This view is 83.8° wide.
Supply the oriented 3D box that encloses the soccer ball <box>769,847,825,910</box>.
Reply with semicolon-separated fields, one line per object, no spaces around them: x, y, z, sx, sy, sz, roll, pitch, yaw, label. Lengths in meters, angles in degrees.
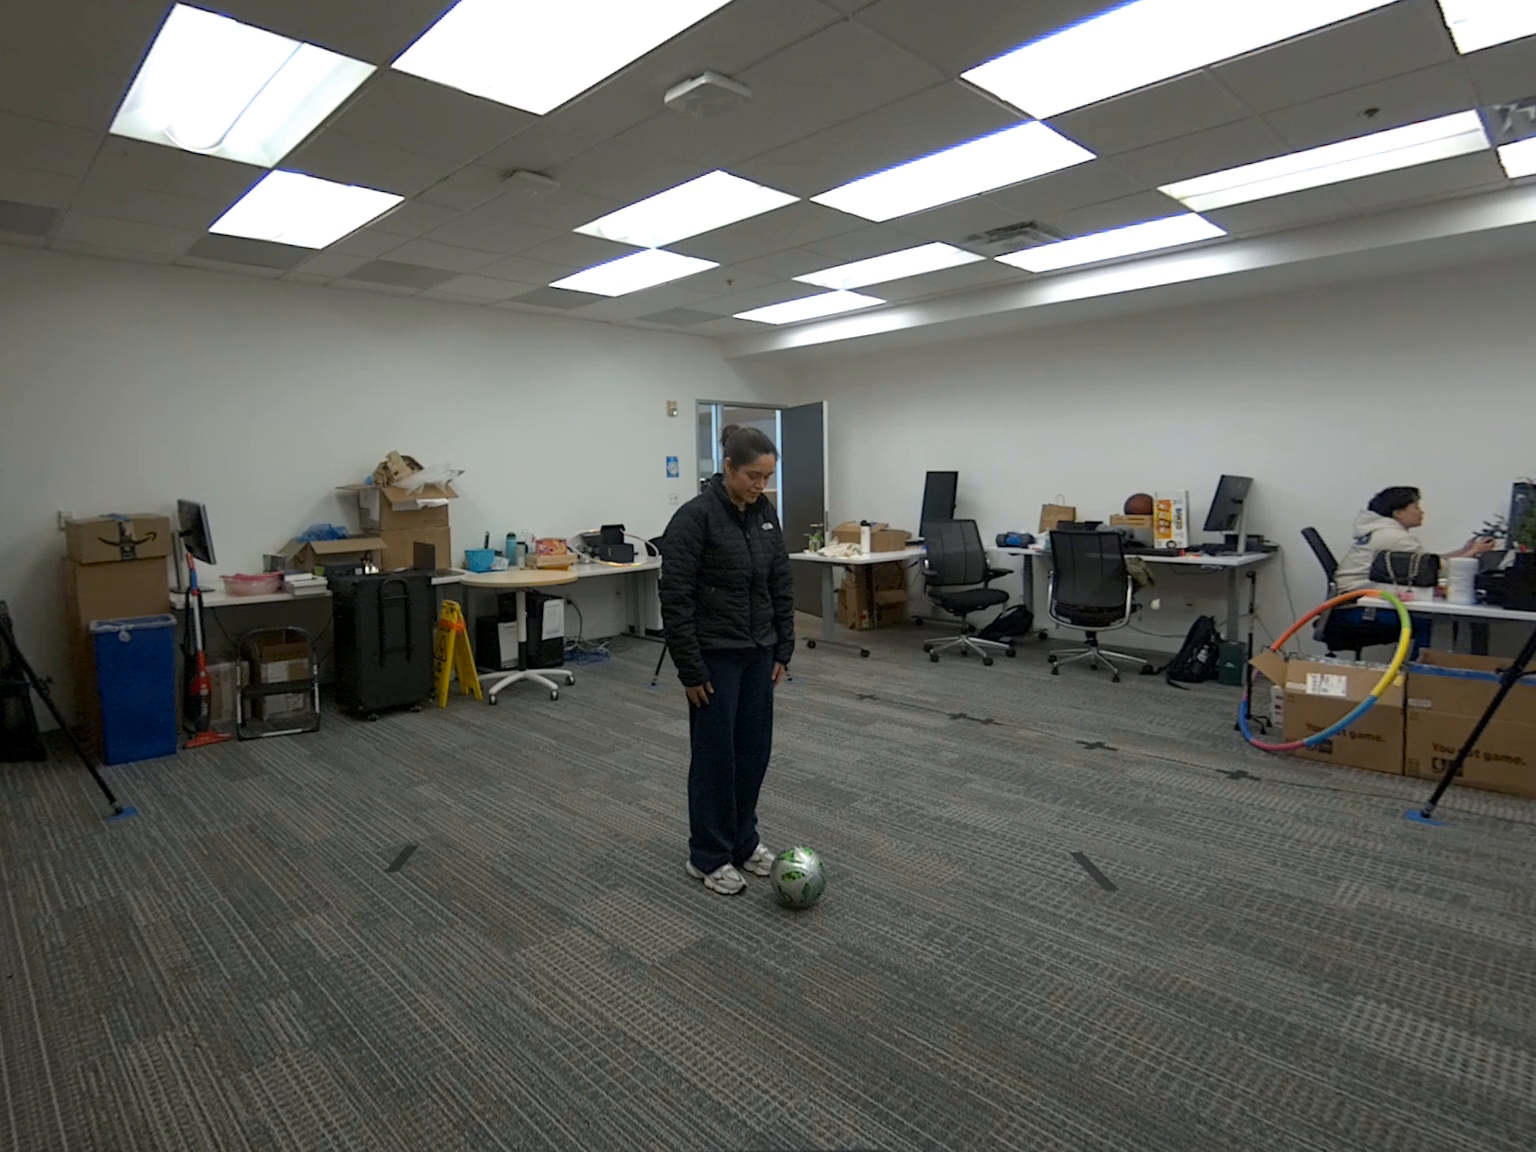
0.105;0.982;2.799;0.187;0.187;0.188;-1;5;-2;soccer ball
